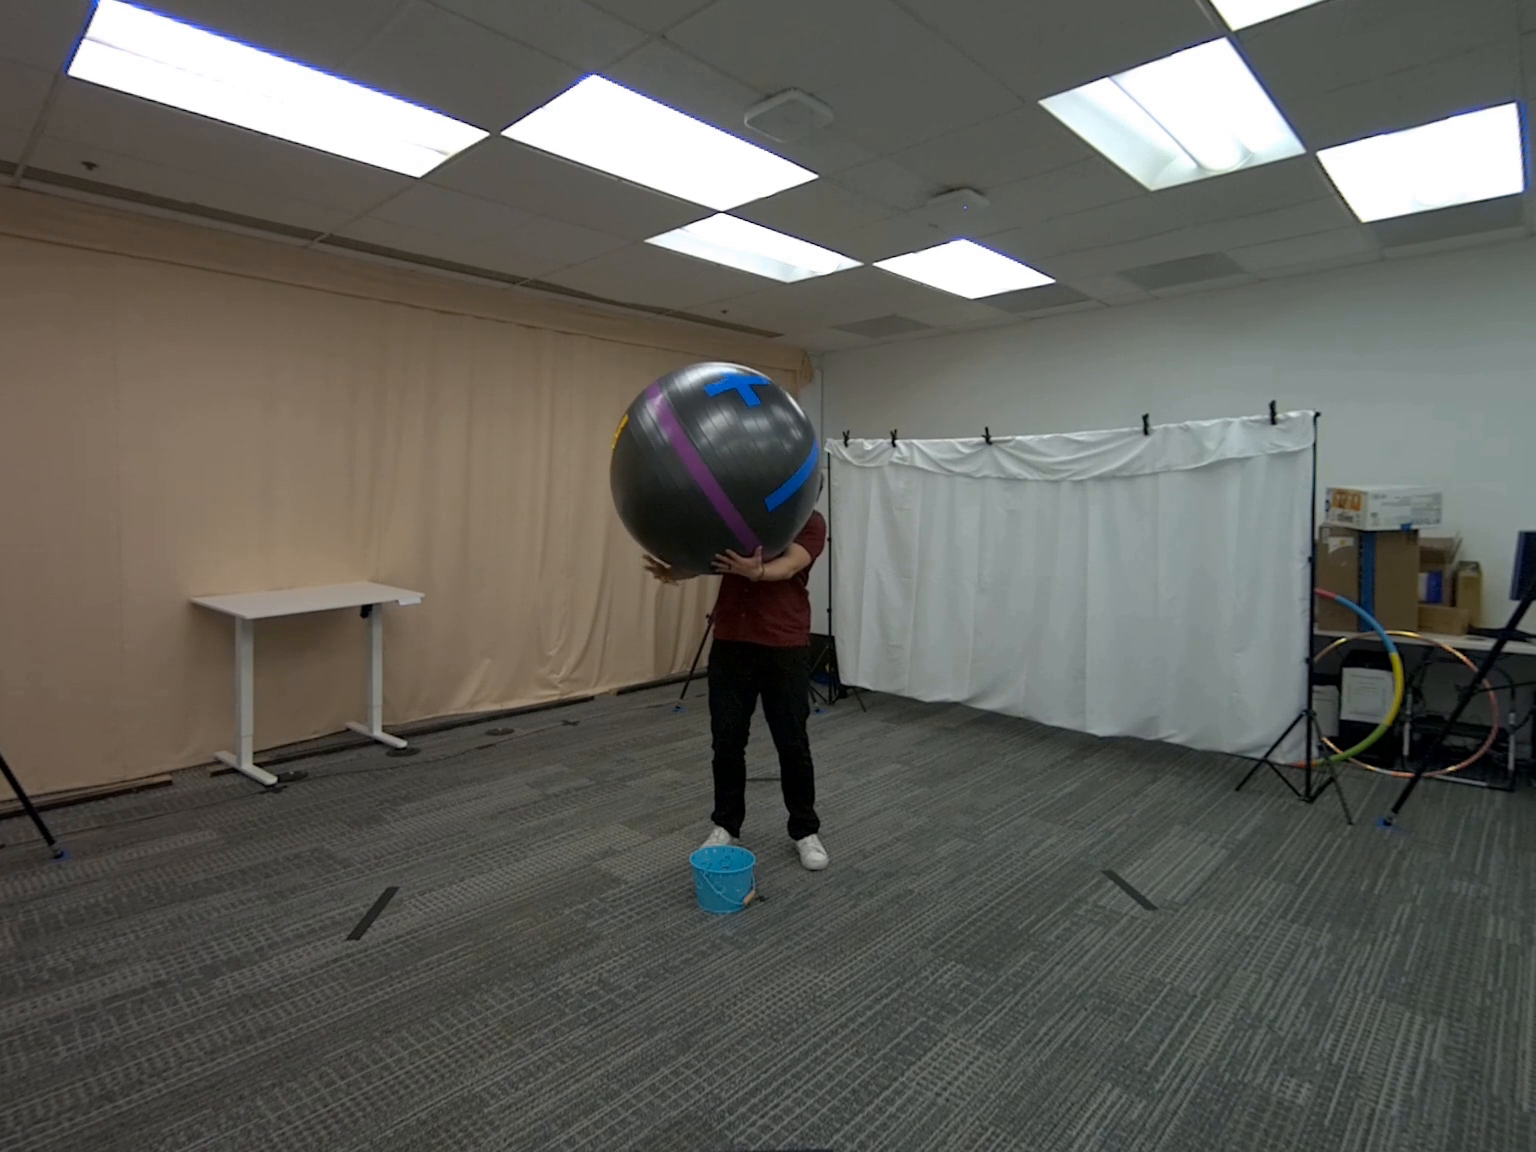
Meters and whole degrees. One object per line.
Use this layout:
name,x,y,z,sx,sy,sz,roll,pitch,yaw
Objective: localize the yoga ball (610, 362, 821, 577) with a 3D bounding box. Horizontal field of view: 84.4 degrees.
yoga ball,-0.187,-0.375,3.033,0.757,0.756,0.760,0,4,-2
